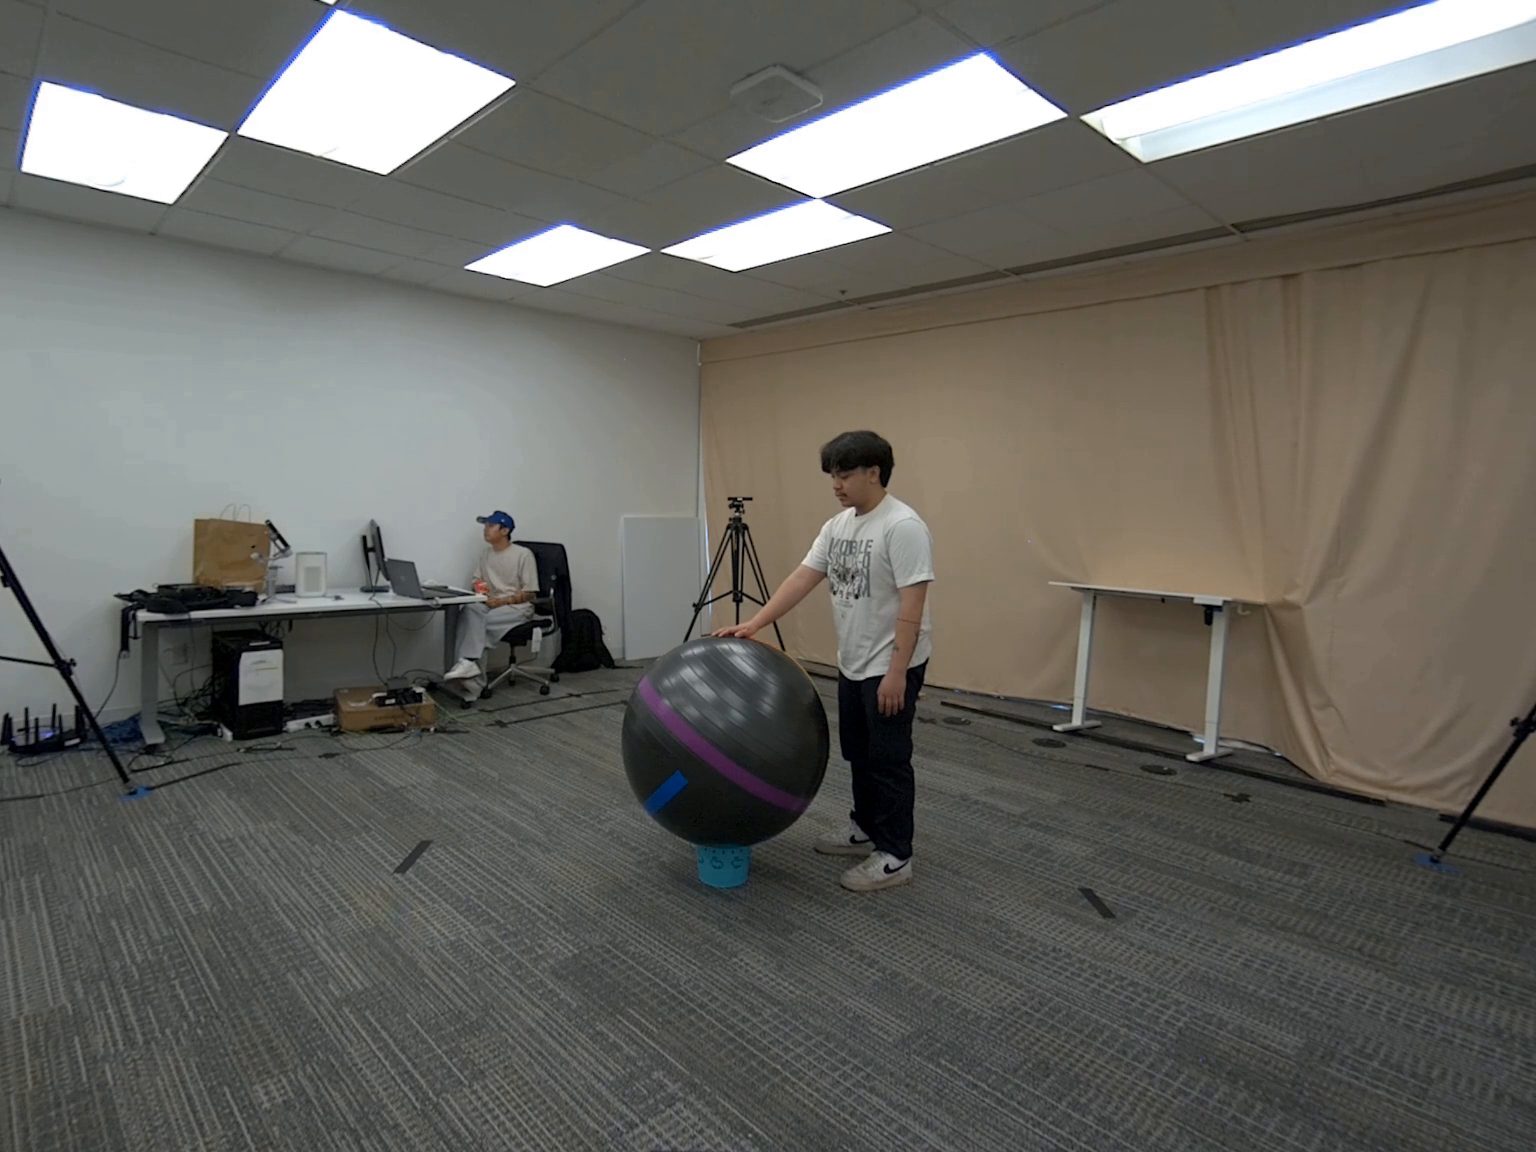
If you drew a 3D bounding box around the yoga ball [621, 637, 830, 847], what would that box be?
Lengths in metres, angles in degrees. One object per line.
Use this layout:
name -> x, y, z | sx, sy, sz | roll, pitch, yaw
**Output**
yoga ball -> -0.163, 0.601, 3.089 | 0.757, 0.756, 0.761 | 1, 4, -1
